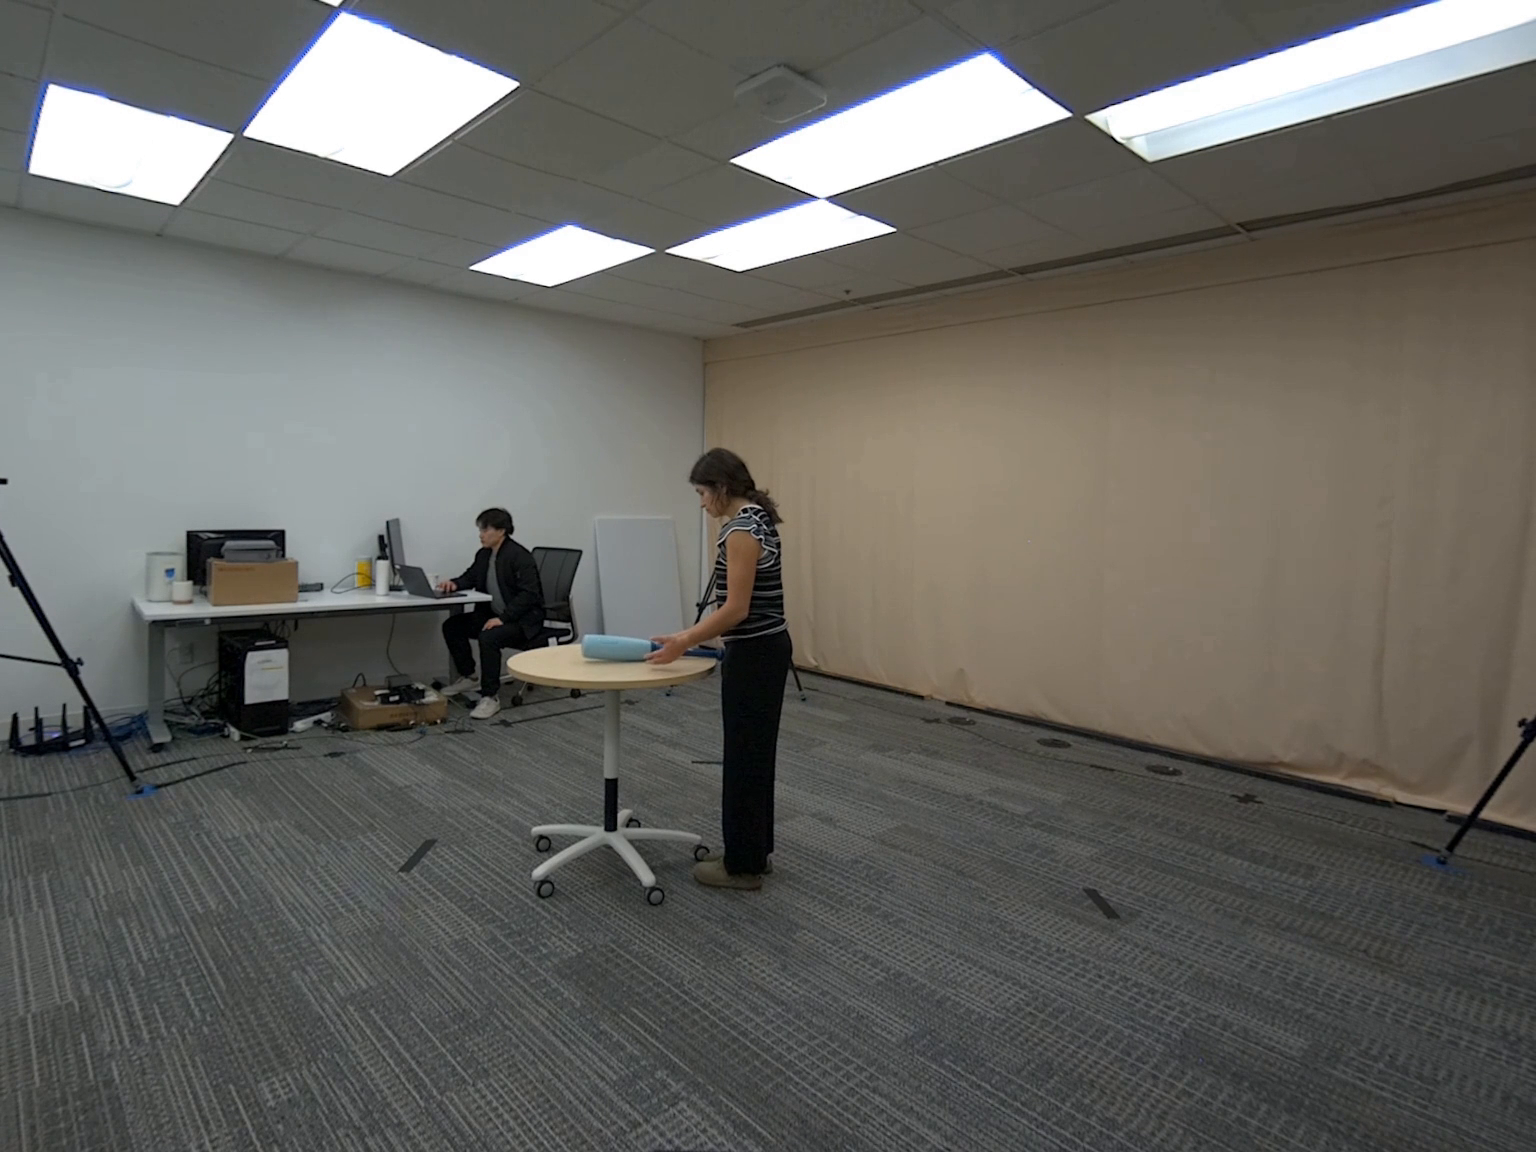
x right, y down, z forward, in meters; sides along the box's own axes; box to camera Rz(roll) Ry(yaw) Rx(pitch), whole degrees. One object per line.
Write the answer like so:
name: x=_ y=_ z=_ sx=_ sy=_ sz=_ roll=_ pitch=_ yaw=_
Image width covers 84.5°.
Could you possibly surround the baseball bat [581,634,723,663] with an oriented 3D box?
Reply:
baseball bat: x=-0.420 y=0.278 z=3.114 sx=0.538 sy=0.089 sz=0.090 roll=6 pitch=3 yaw=-11
